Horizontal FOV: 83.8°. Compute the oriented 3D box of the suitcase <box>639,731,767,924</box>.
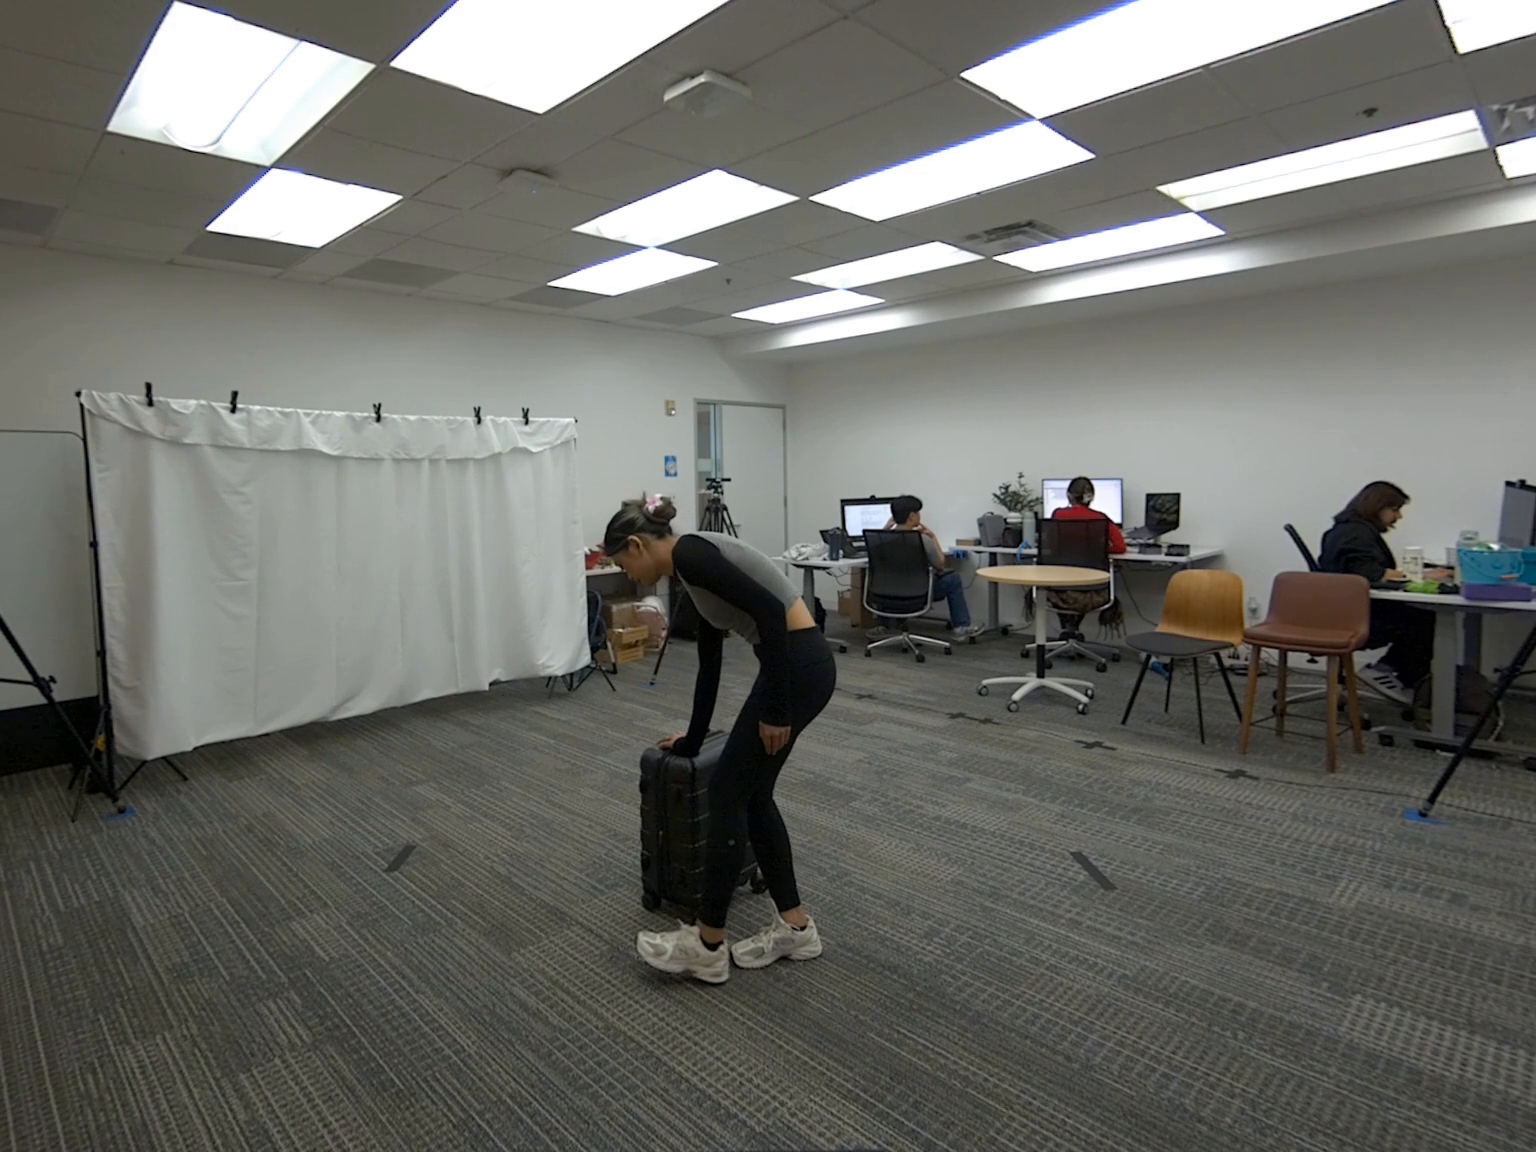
[{"bbox_3d":[-0.223,0.800,2.831,0.255,0.548,0.366,1,4,38],"label":"suitcase"}]
